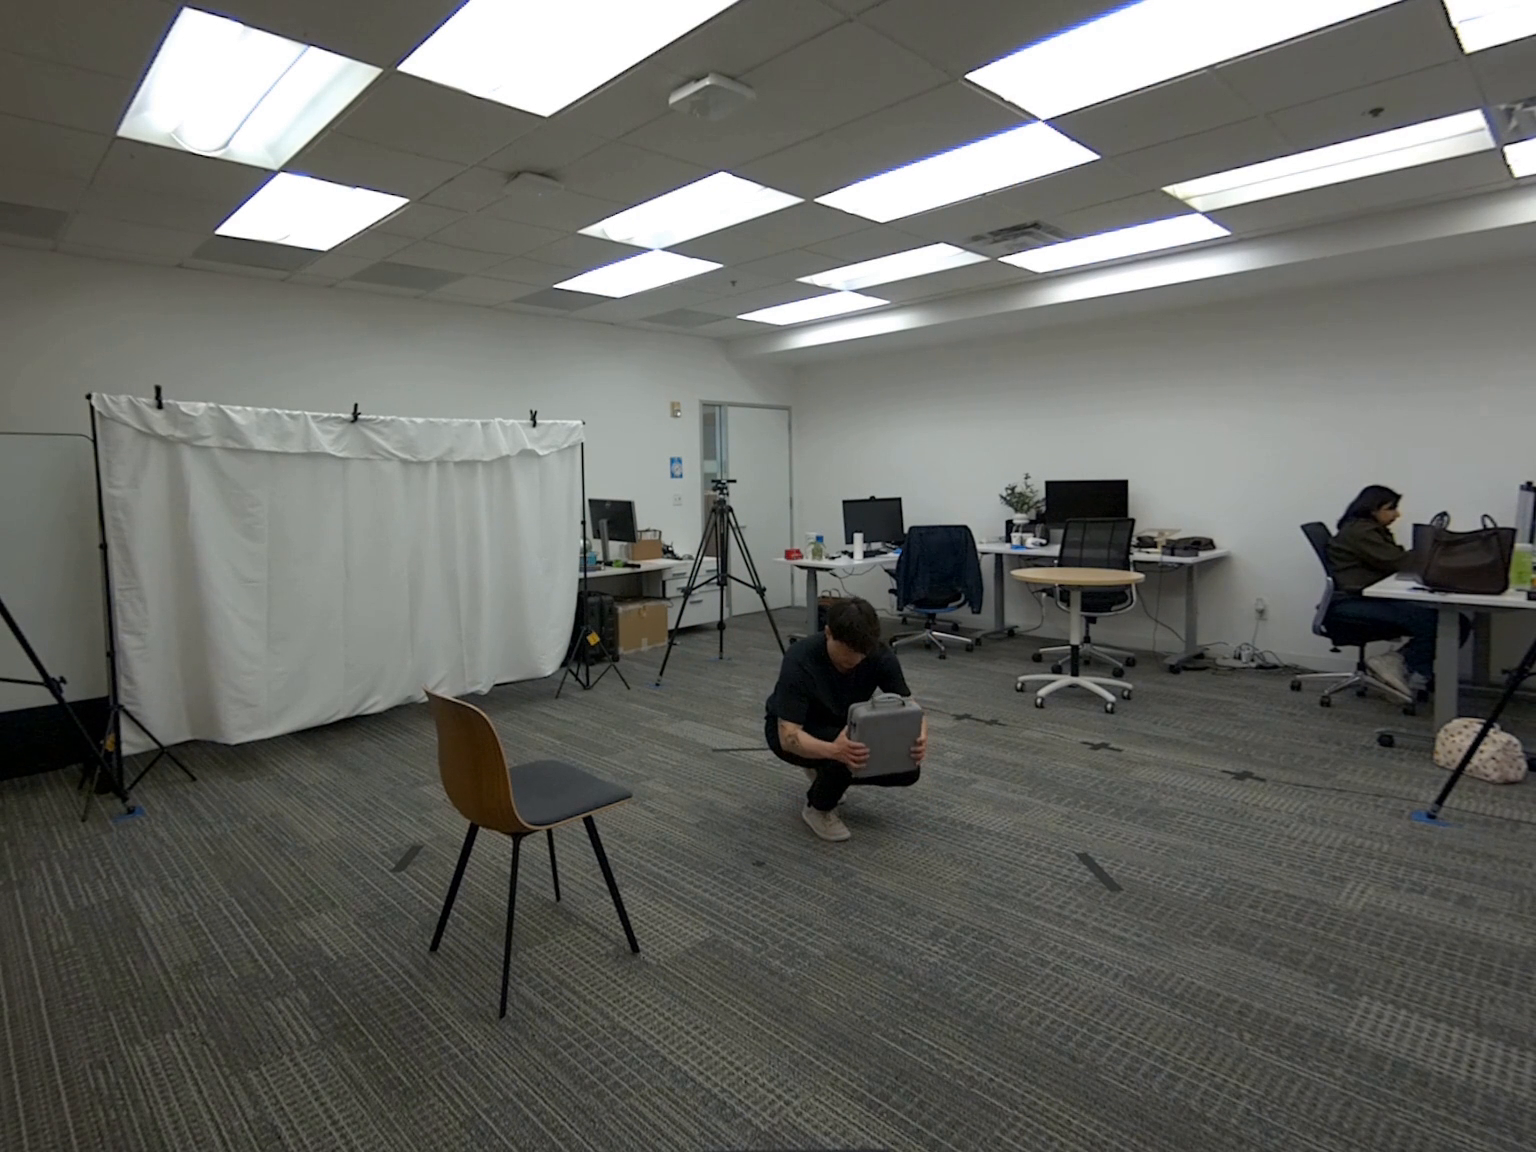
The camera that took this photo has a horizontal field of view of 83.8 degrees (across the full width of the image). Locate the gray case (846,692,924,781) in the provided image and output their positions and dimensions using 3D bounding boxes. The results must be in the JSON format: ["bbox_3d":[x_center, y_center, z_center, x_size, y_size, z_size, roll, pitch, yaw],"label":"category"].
[{"bbox_3d":[0.411,0.560,2.988,0.253,0.256,0.107,-4,19,-15],"label":"gray case"}]
